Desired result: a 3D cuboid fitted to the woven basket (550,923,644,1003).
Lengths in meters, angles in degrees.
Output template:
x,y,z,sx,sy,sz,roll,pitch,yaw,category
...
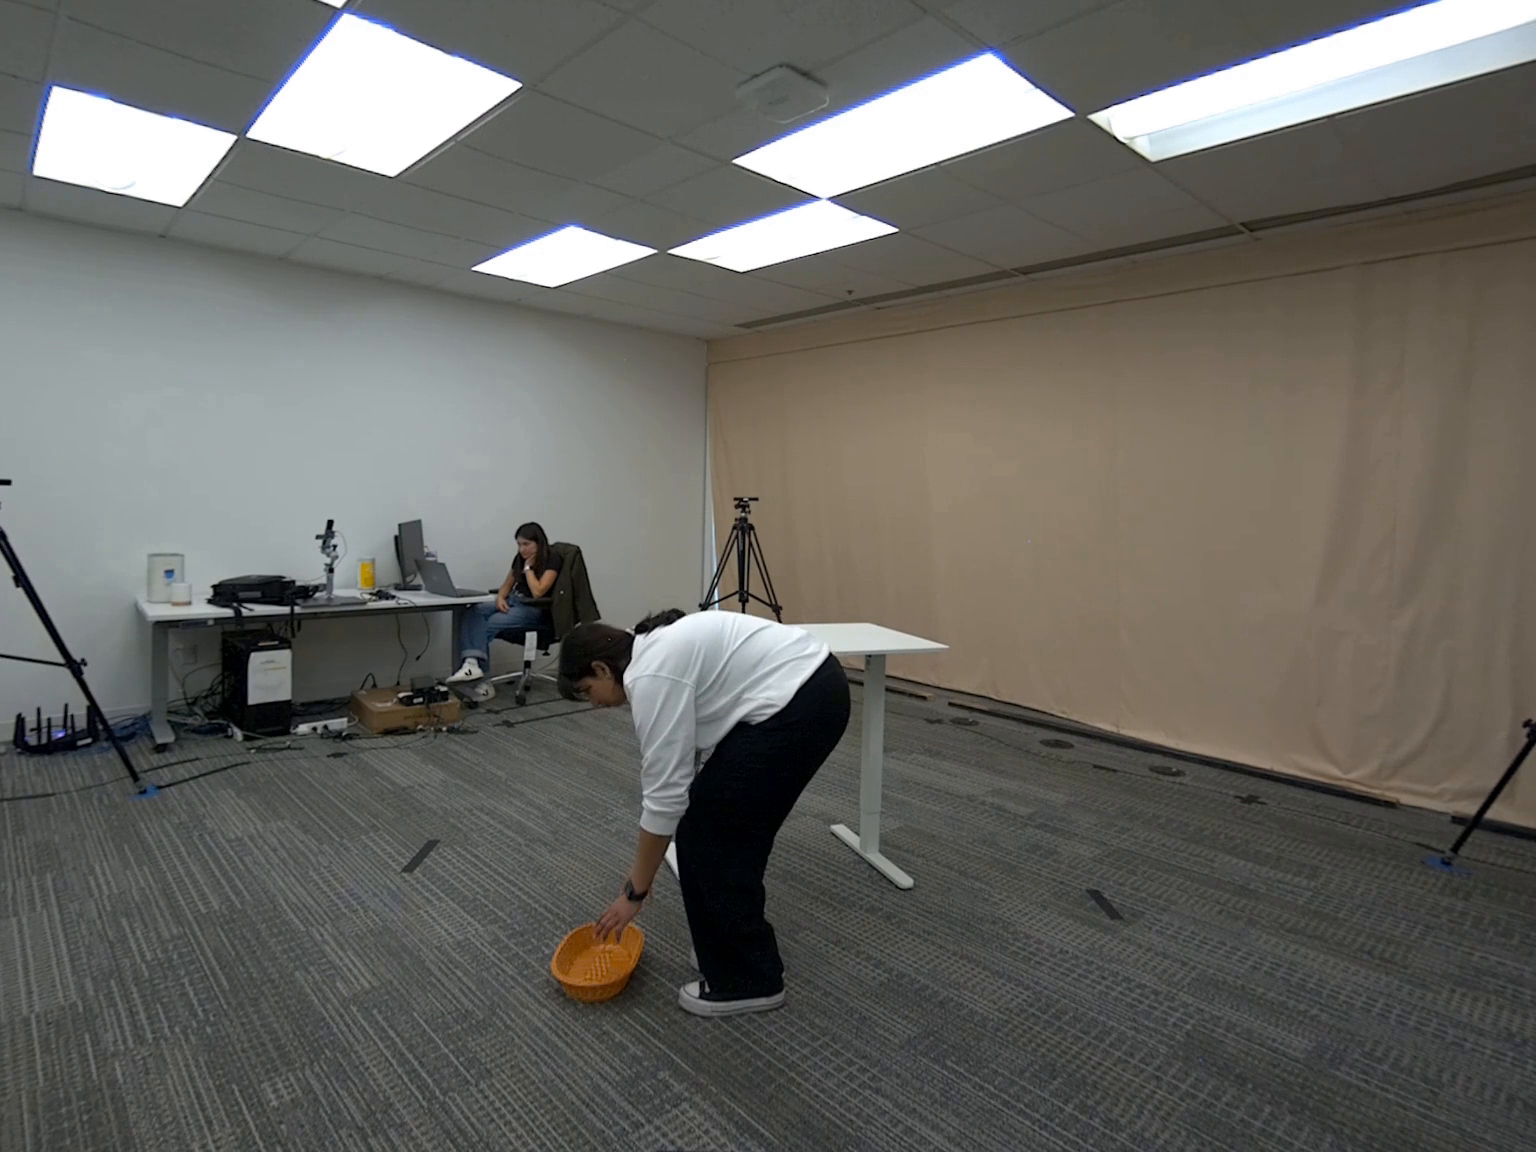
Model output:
x,y,z,sx,sy,sz,roll,pitch,yaw,category
-0.495,1.115,2.454,0.253,0.073,0.350,-1,5,3,woven basket
